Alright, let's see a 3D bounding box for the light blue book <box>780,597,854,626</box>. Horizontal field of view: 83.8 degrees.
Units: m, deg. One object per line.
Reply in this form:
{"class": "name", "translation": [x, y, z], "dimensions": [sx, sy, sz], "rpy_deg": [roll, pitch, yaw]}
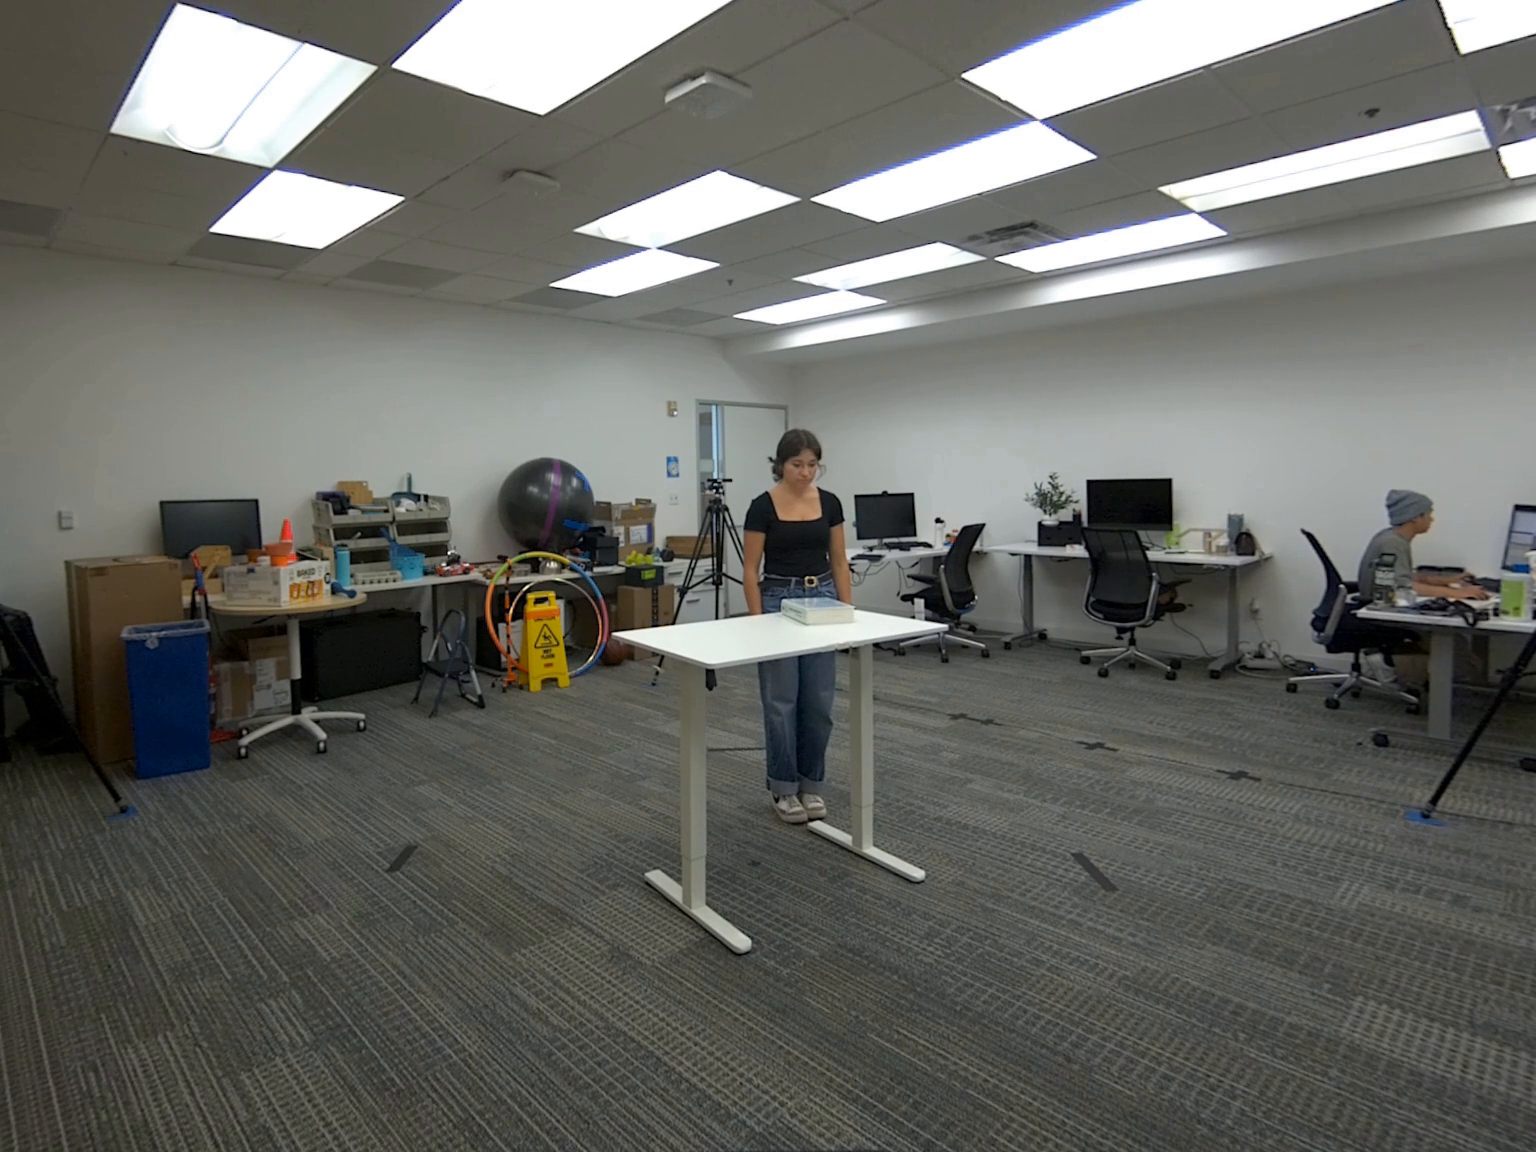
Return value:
{"class": "light blue book", "translation": [0.170, 0.128, 3.145], "dimensions": [0.188, 0.059, 0.267], "rpy_deg": [-1, 6, -20]}
